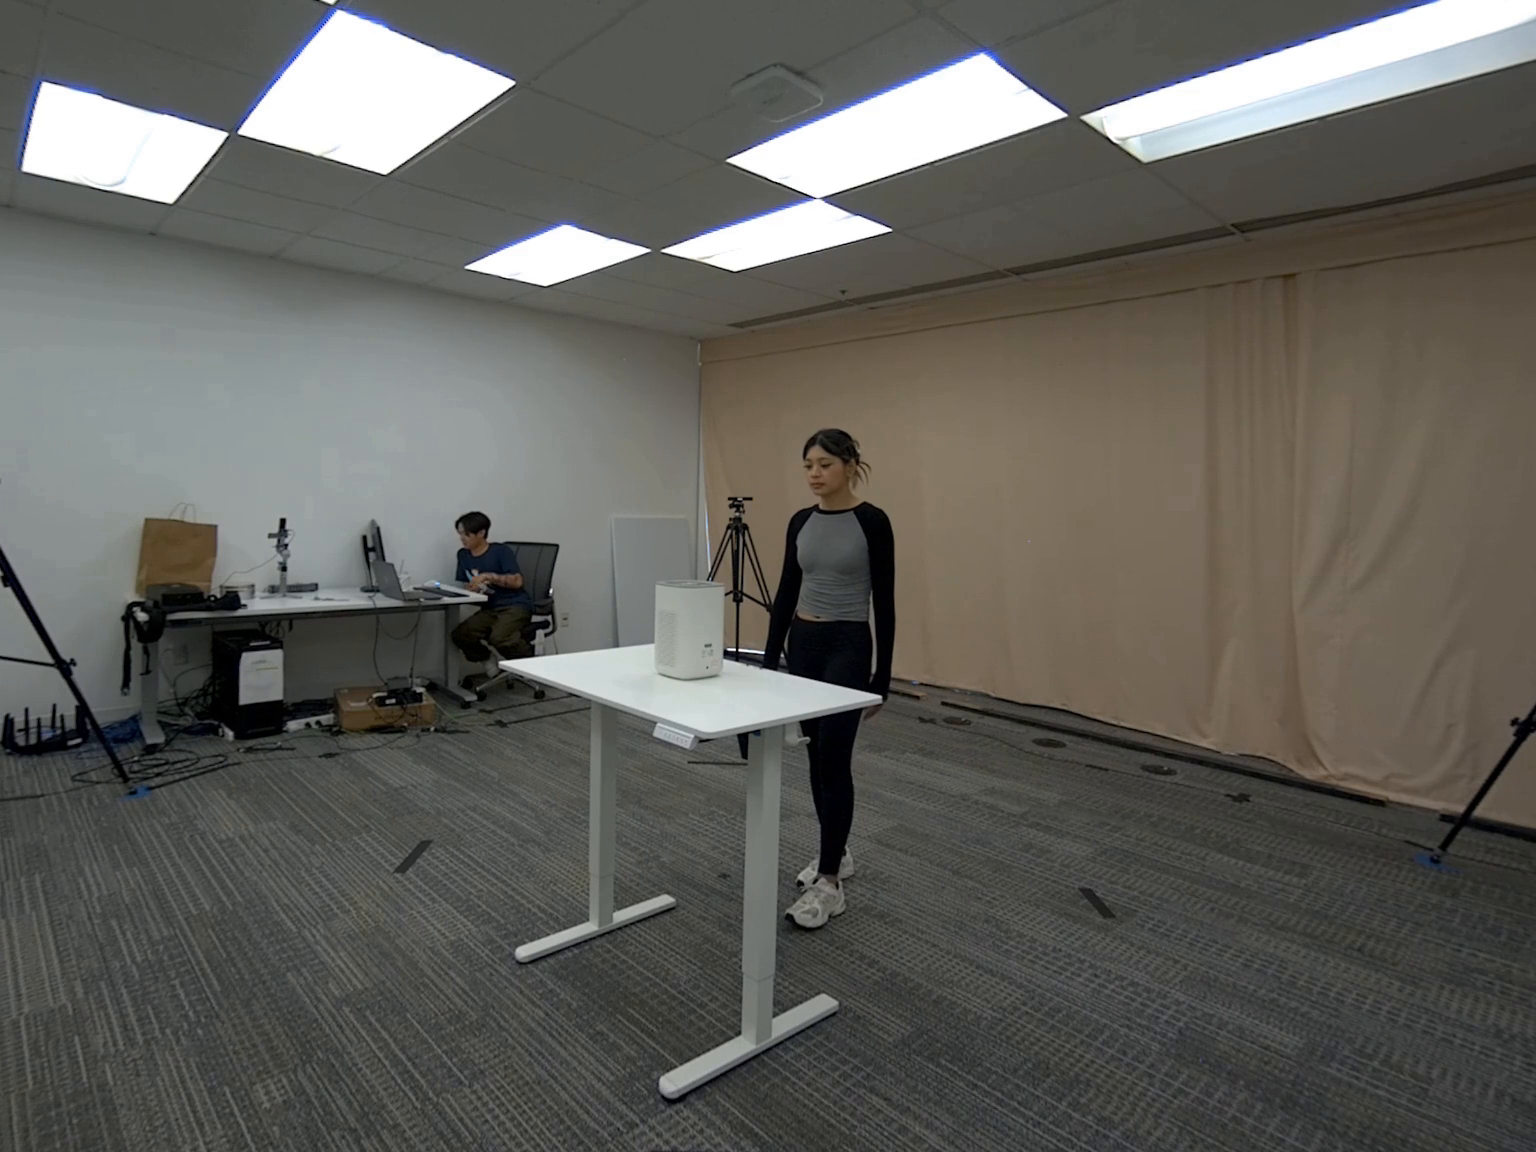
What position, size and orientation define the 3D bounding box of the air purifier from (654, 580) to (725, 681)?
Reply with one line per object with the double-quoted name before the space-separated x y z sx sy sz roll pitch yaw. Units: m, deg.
"air purifier" -0.234 0.156 2.413 0.167 0.265 0.176 -2 4 -44
